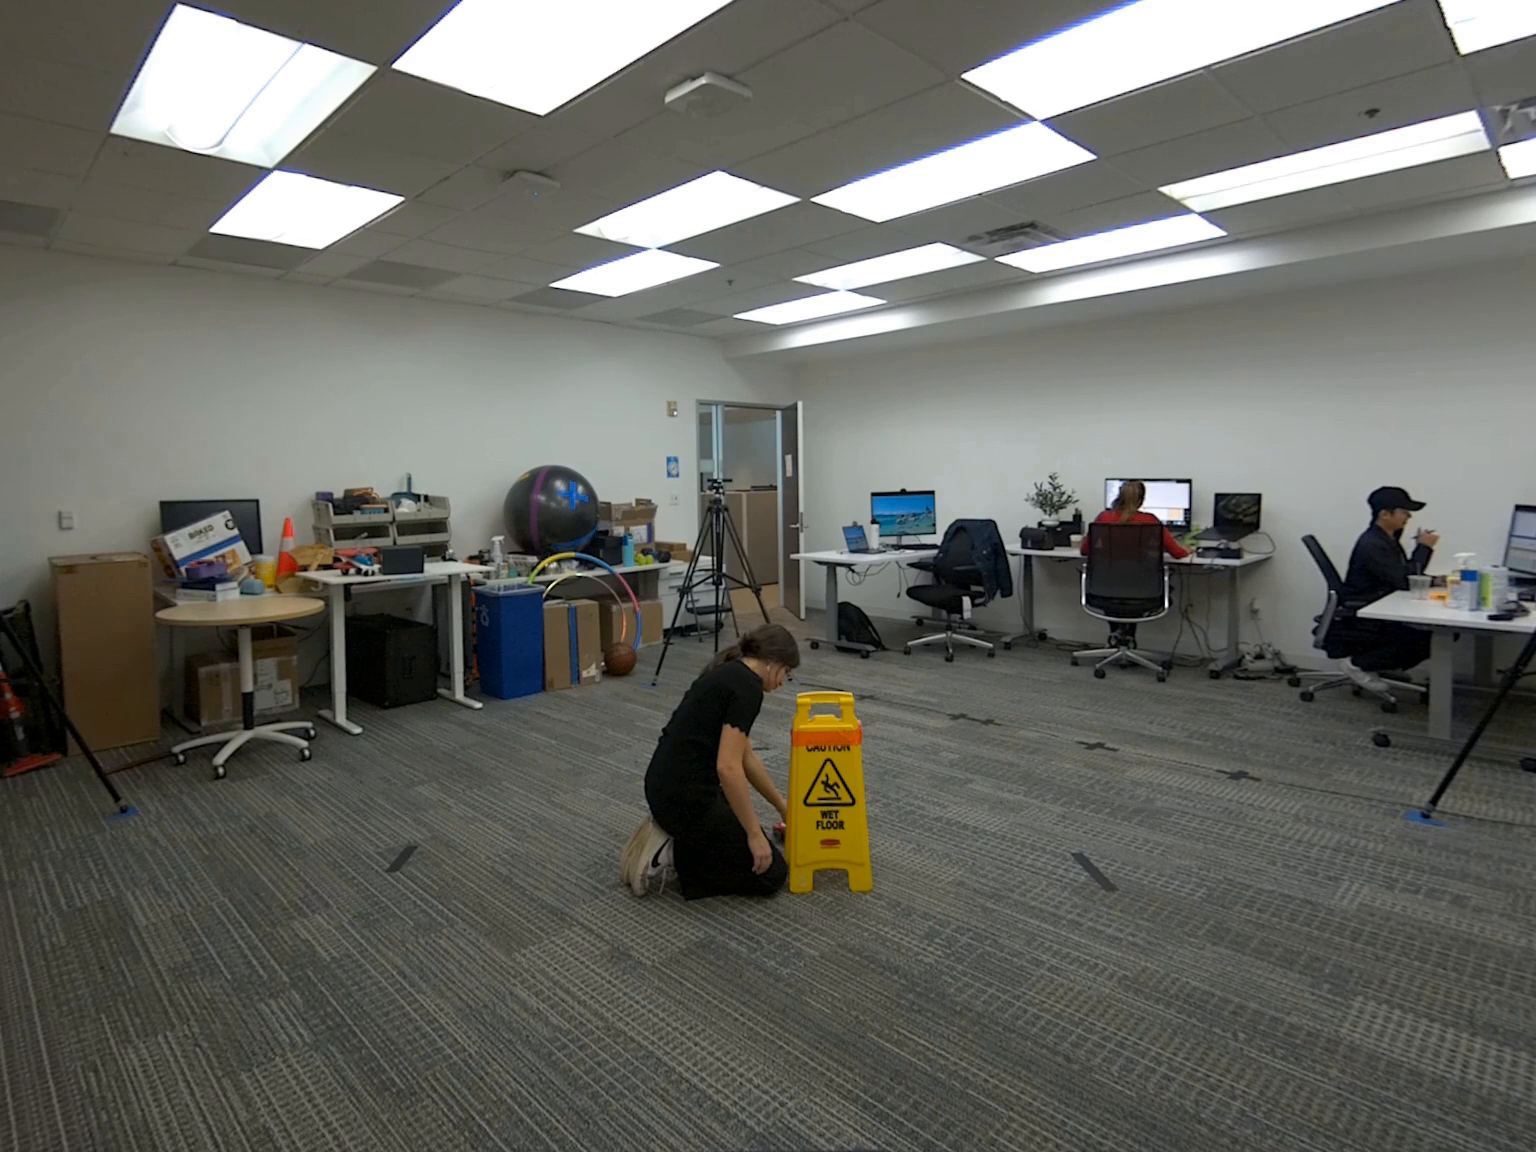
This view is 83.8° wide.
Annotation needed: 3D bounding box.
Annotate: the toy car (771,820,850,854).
[{"bbox_3d":[0.158,0.992,3.270,0.260,0.084,0.126,-11,-6,35],"label":"toy car"}]
